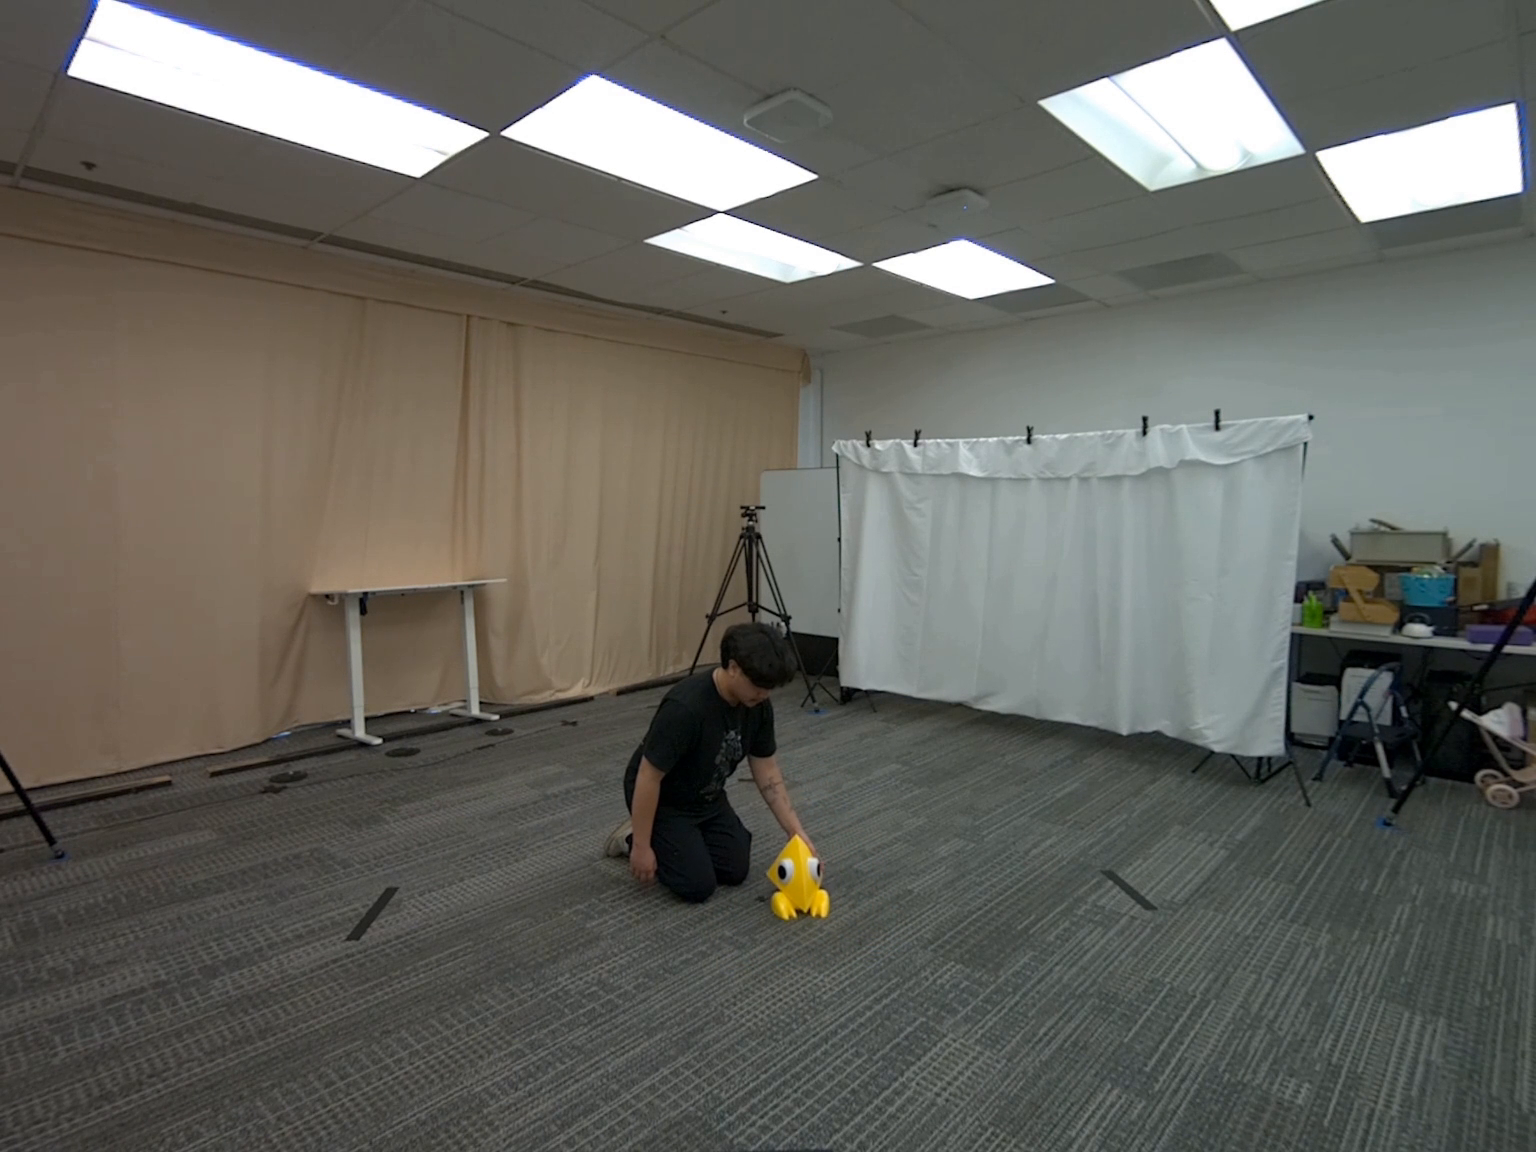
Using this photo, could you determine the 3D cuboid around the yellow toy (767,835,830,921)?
[{"bbox_3d":[0.116,1.038,2.921,0.203,0.230,0.195,-2,4,-8],"label":"yellow toy"}]
